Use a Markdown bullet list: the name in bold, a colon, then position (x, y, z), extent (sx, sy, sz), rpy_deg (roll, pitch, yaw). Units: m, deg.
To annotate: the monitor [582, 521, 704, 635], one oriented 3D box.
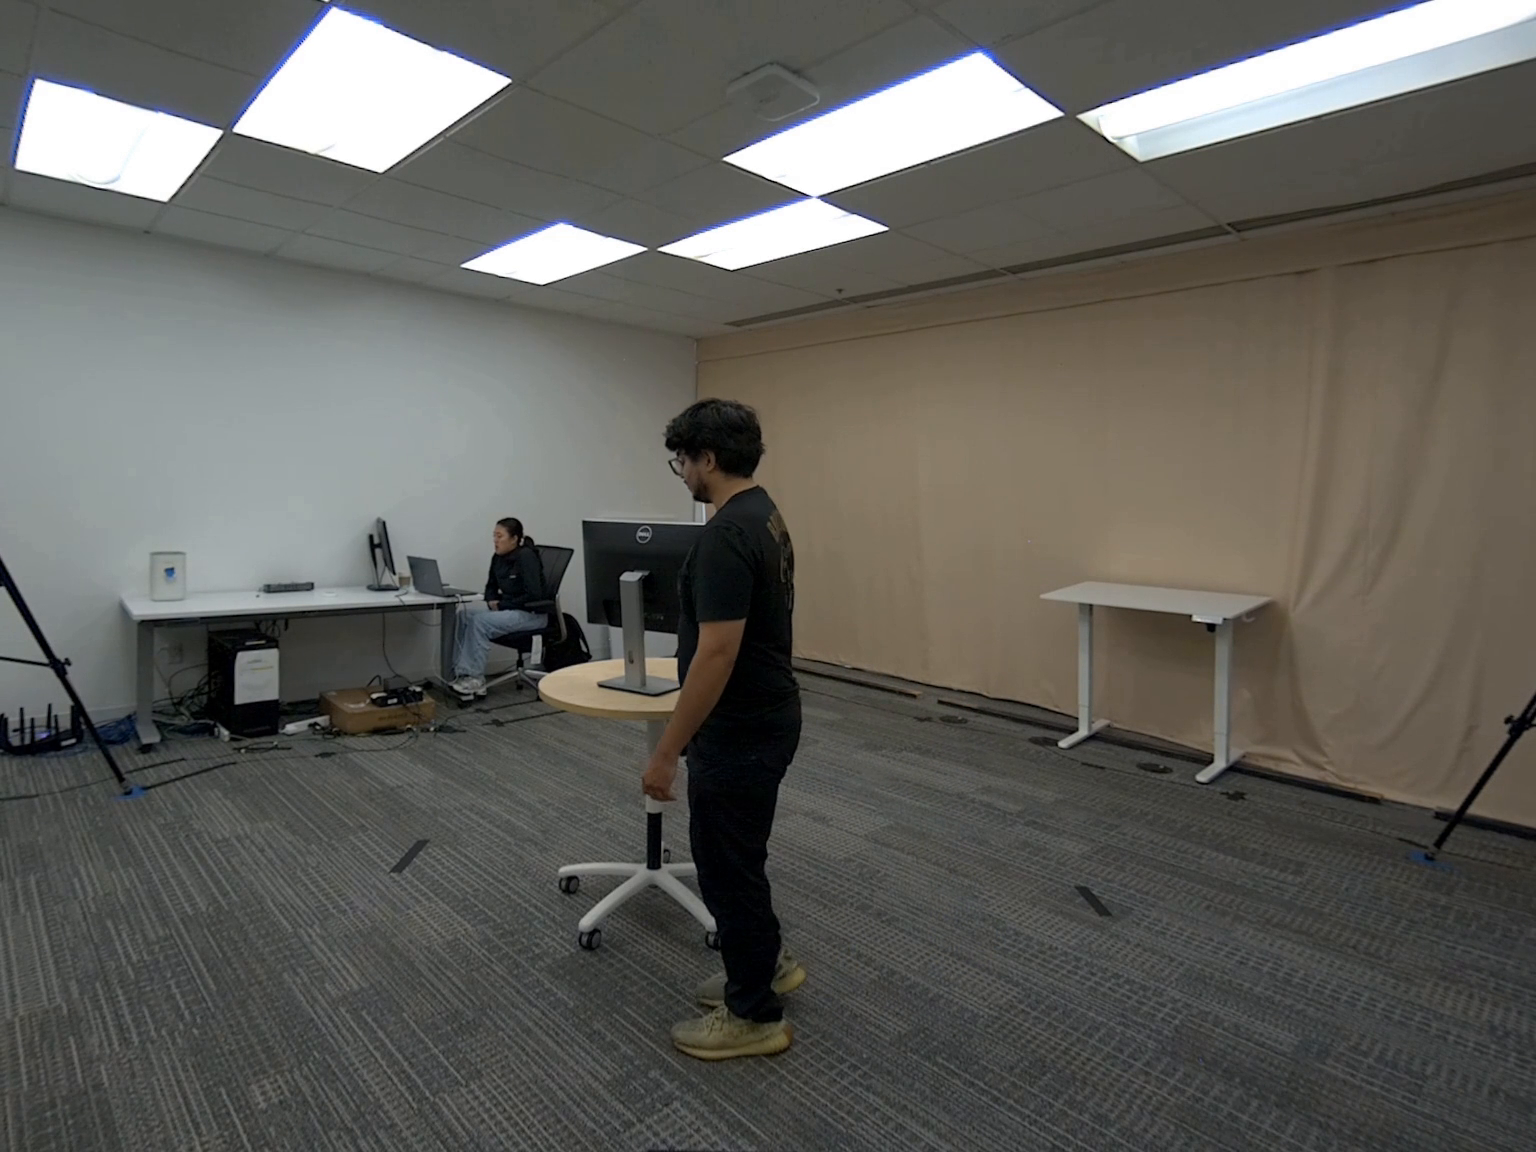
- **monitor**: position (-0.416, 0.100, 2.684), extent (0.578, 0.551, 0.206), rpy_deg (4, 7, 31)
